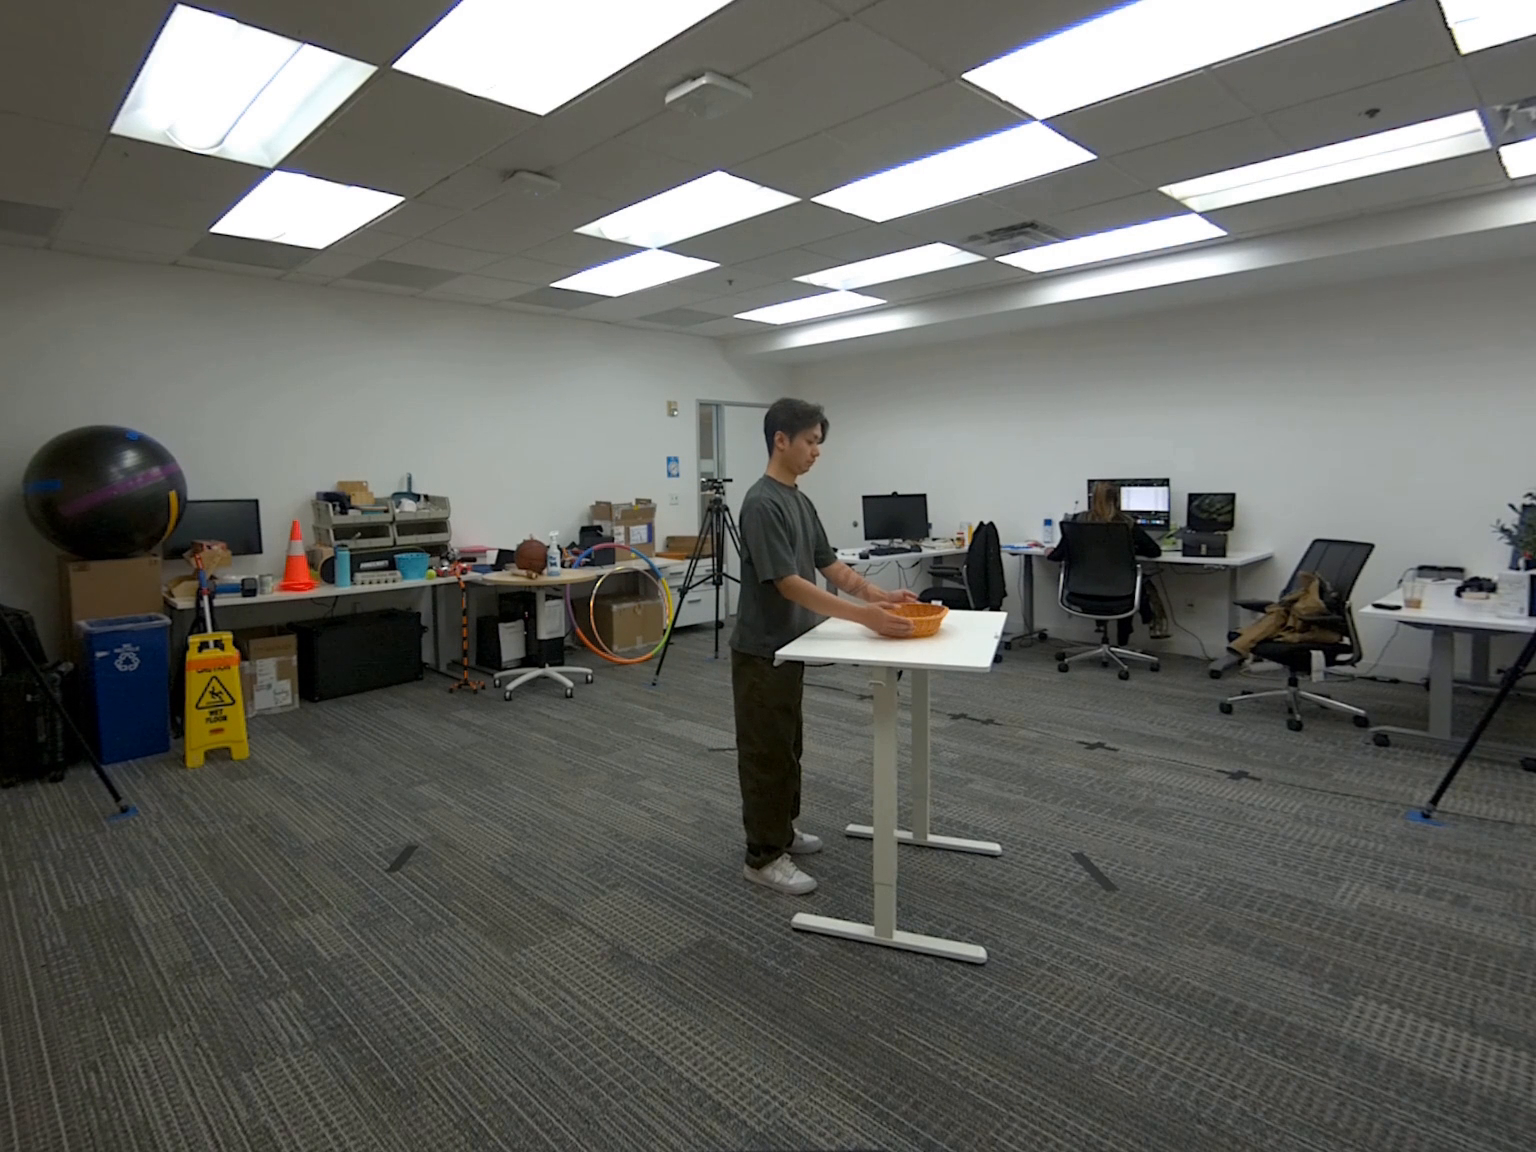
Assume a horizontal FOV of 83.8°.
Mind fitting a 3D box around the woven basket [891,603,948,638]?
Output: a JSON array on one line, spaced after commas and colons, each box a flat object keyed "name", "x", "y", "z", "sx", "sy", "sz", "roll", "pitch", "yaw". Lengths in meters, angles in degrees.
[{"name": "woven basket", "x": 0.456, "y": 0.148, "z": 2.840, "sx": 0.258, "sy": 0.073, "sz": 0.344, "roll": 3, "pitch": 7, "yaw": 24}]
